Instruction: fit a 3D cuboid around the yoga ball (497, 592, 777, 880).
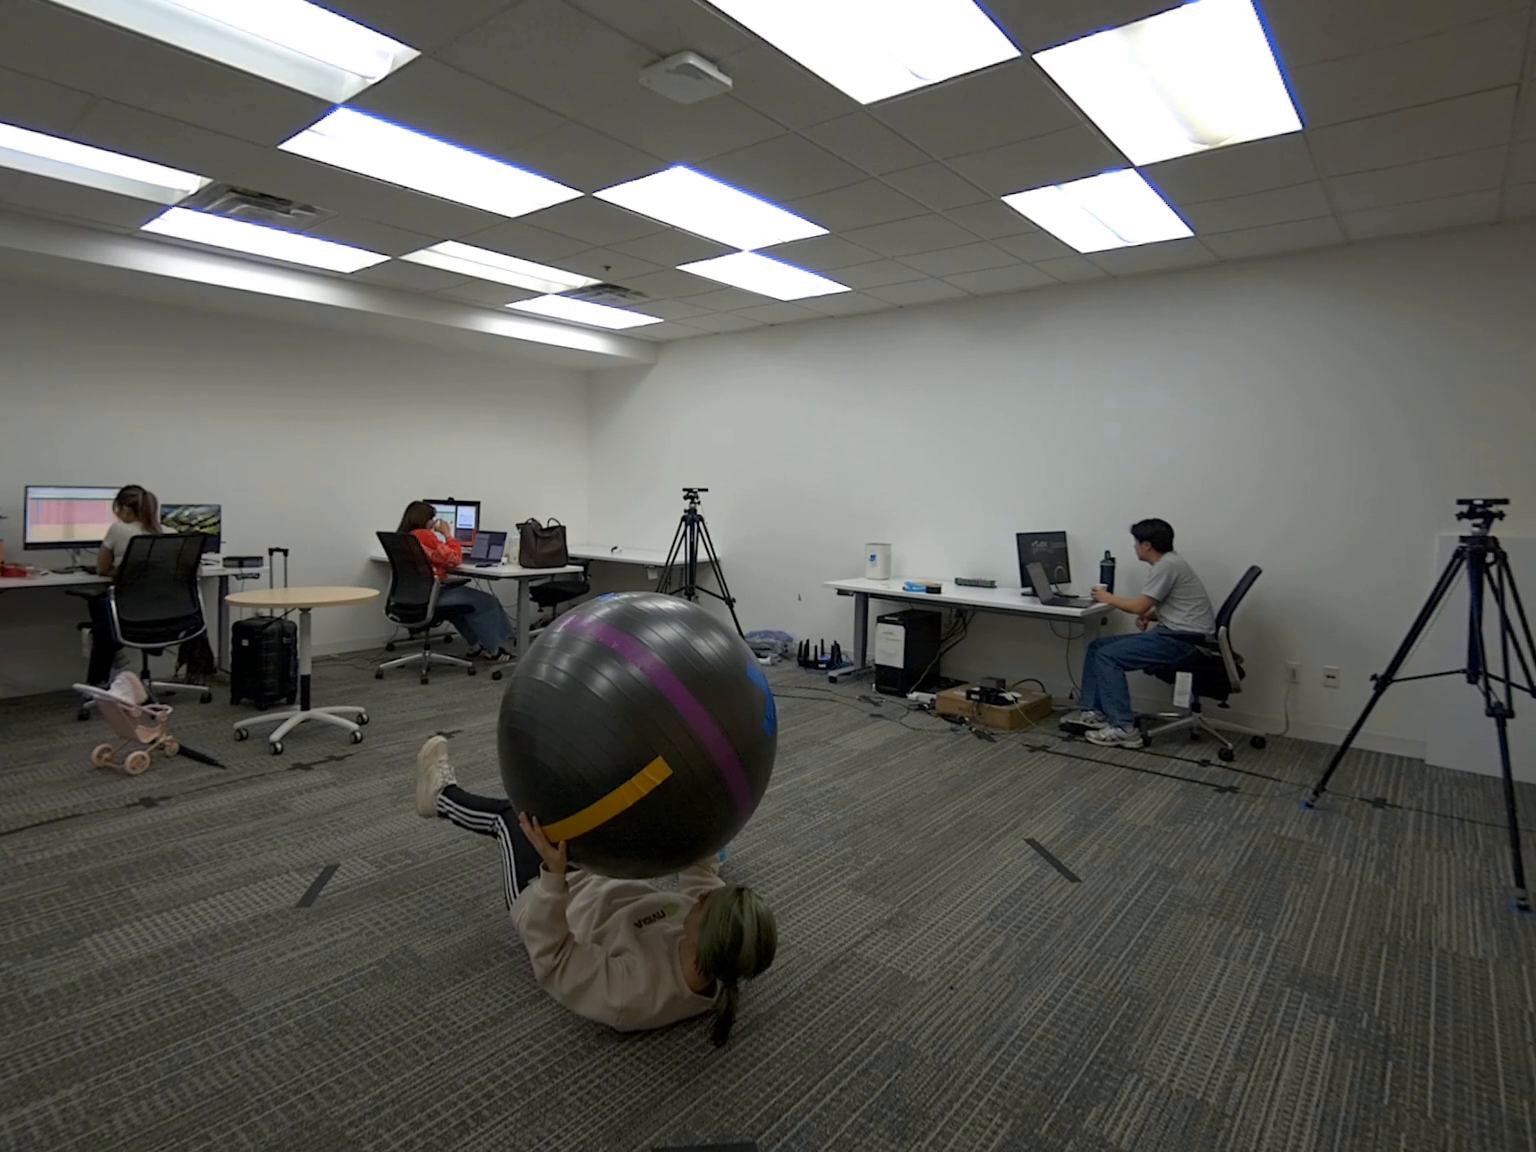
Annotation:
[{"bbox_3d":[-0.361,0.427,2.320,0.757,0.755,0.762,1,4,-2],"label":"yoga ball"}]
